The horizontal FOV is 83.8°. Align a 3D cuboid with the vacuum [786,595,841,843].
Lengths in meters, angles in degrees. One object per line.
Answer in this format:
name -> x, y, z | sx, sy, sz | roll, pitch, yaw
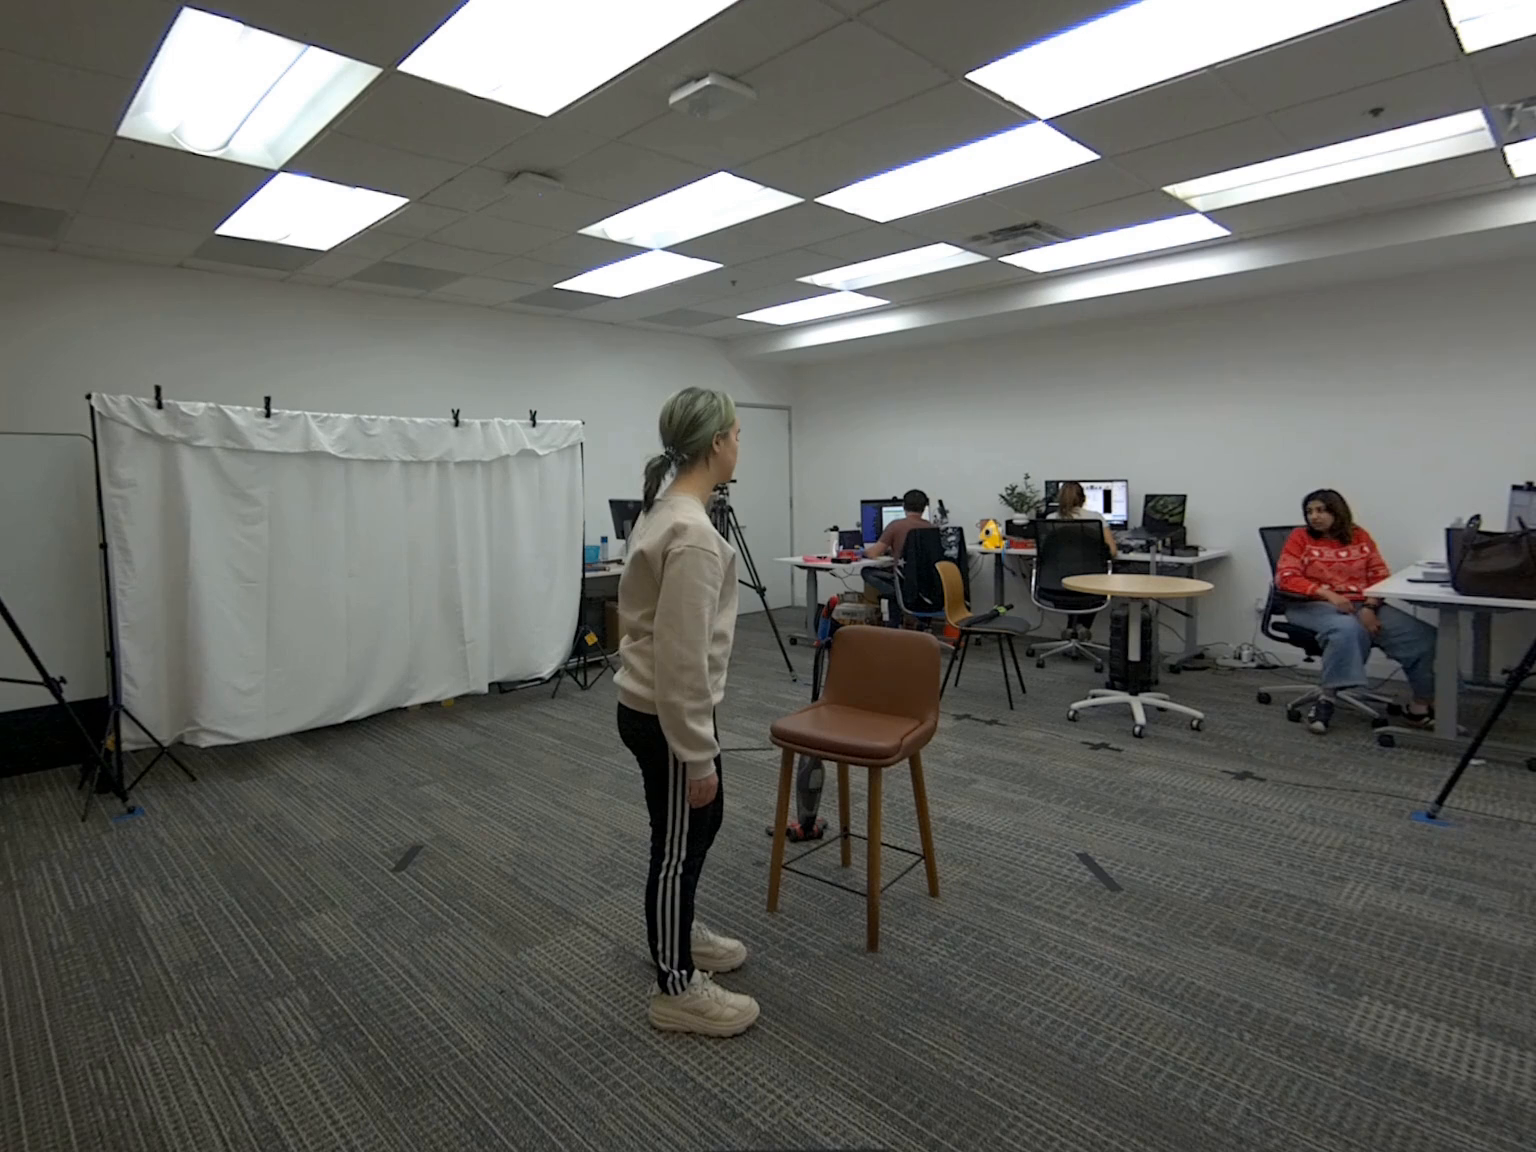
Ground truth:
vacuum -> 0.181, 0.545, 3.161 | 0.249, 1.031, 0.149 | -1, 25, -17
